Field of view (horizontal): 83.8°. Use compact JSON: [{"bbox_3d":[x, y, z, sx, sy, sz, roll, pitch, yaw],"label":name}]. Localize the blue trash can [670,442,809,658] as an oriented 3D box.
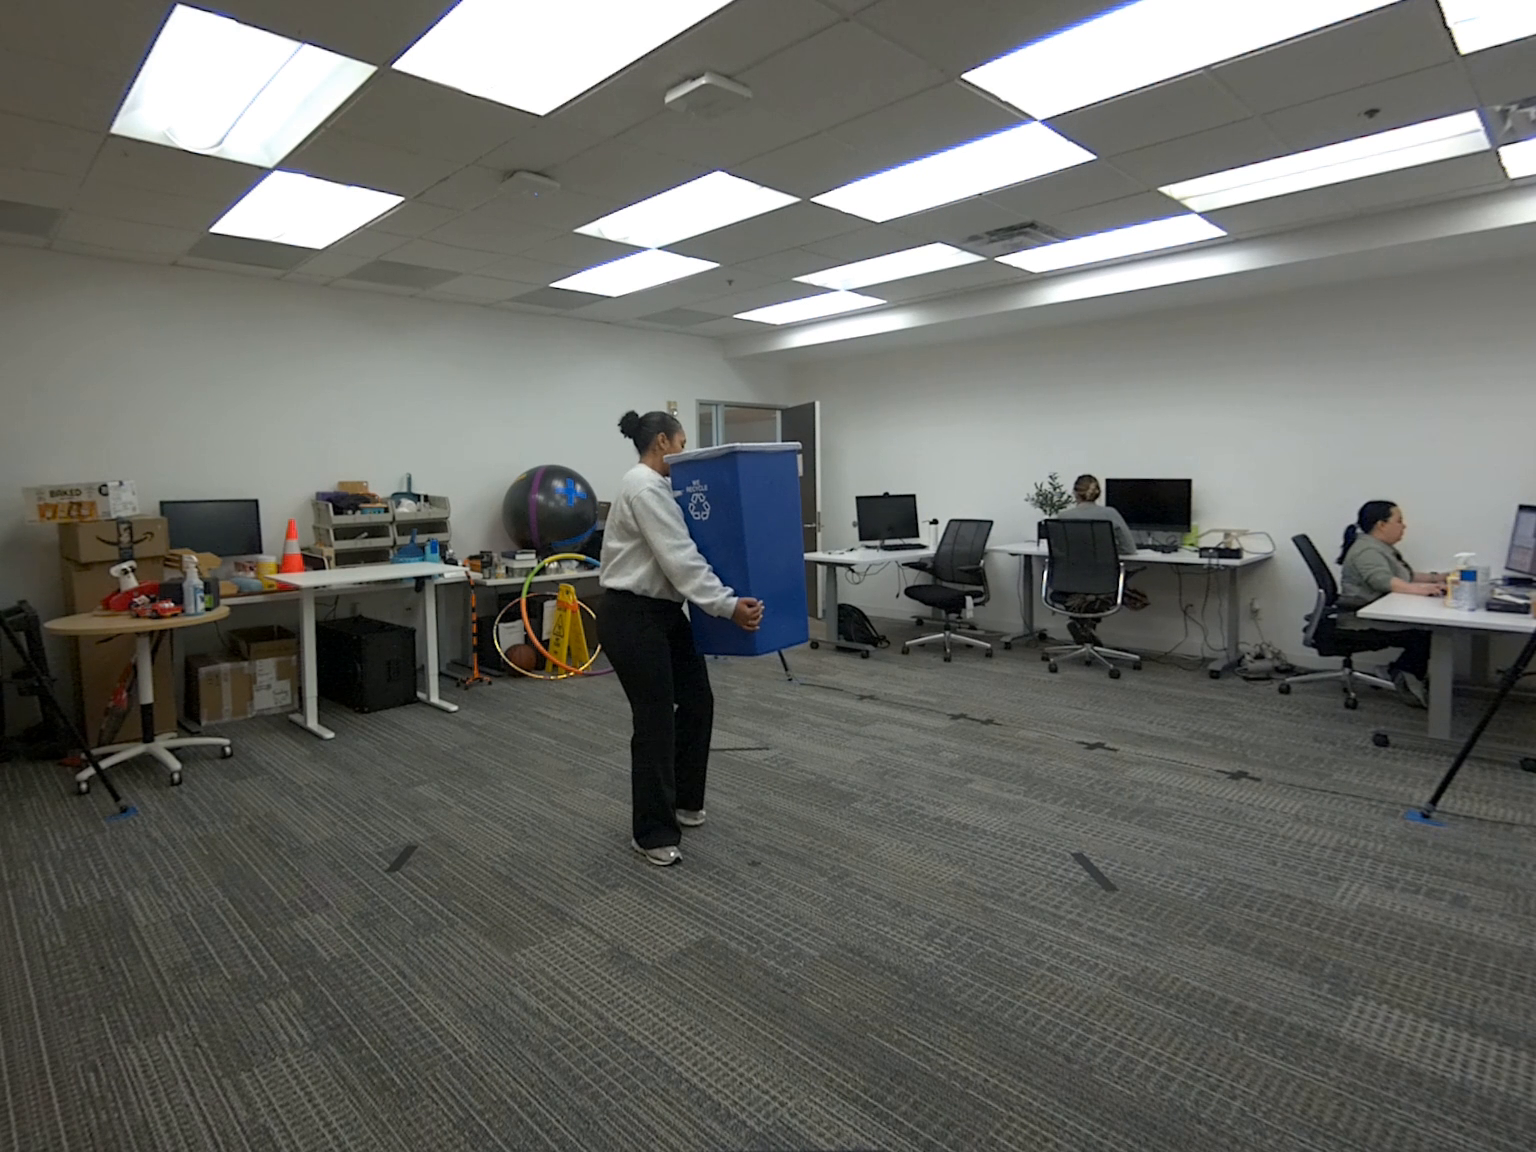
[{"bbox_3d":[-0.088,-0.097,3.049,0.388,0.713,0.365,-5,2,42],"label":"blue trash can"}]
